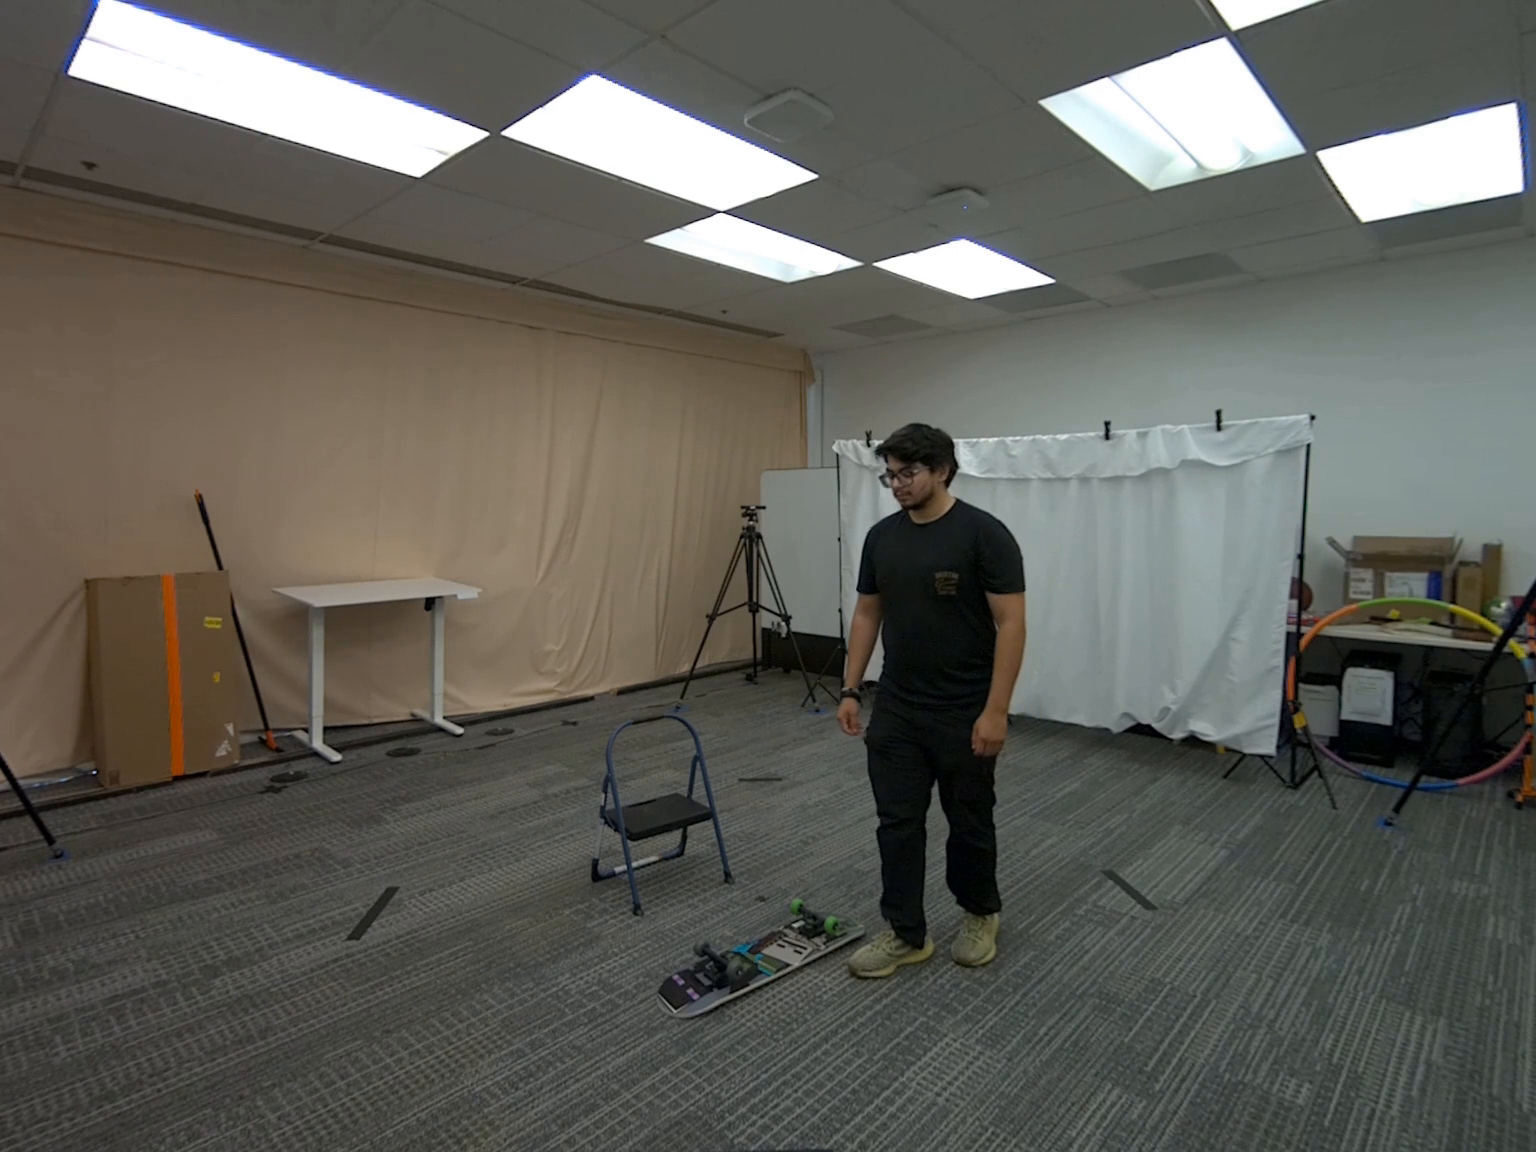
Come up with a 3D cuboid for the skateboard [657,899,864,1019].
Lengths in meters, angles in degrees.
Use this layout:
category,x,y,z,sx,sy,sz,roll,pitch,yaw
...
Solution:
category,x,y,z,sx,sy,sz,roll,pitch,yaw
skateboard,0.003,1.134,2.562,0.762,0.110,0.200,-4,7,-40
